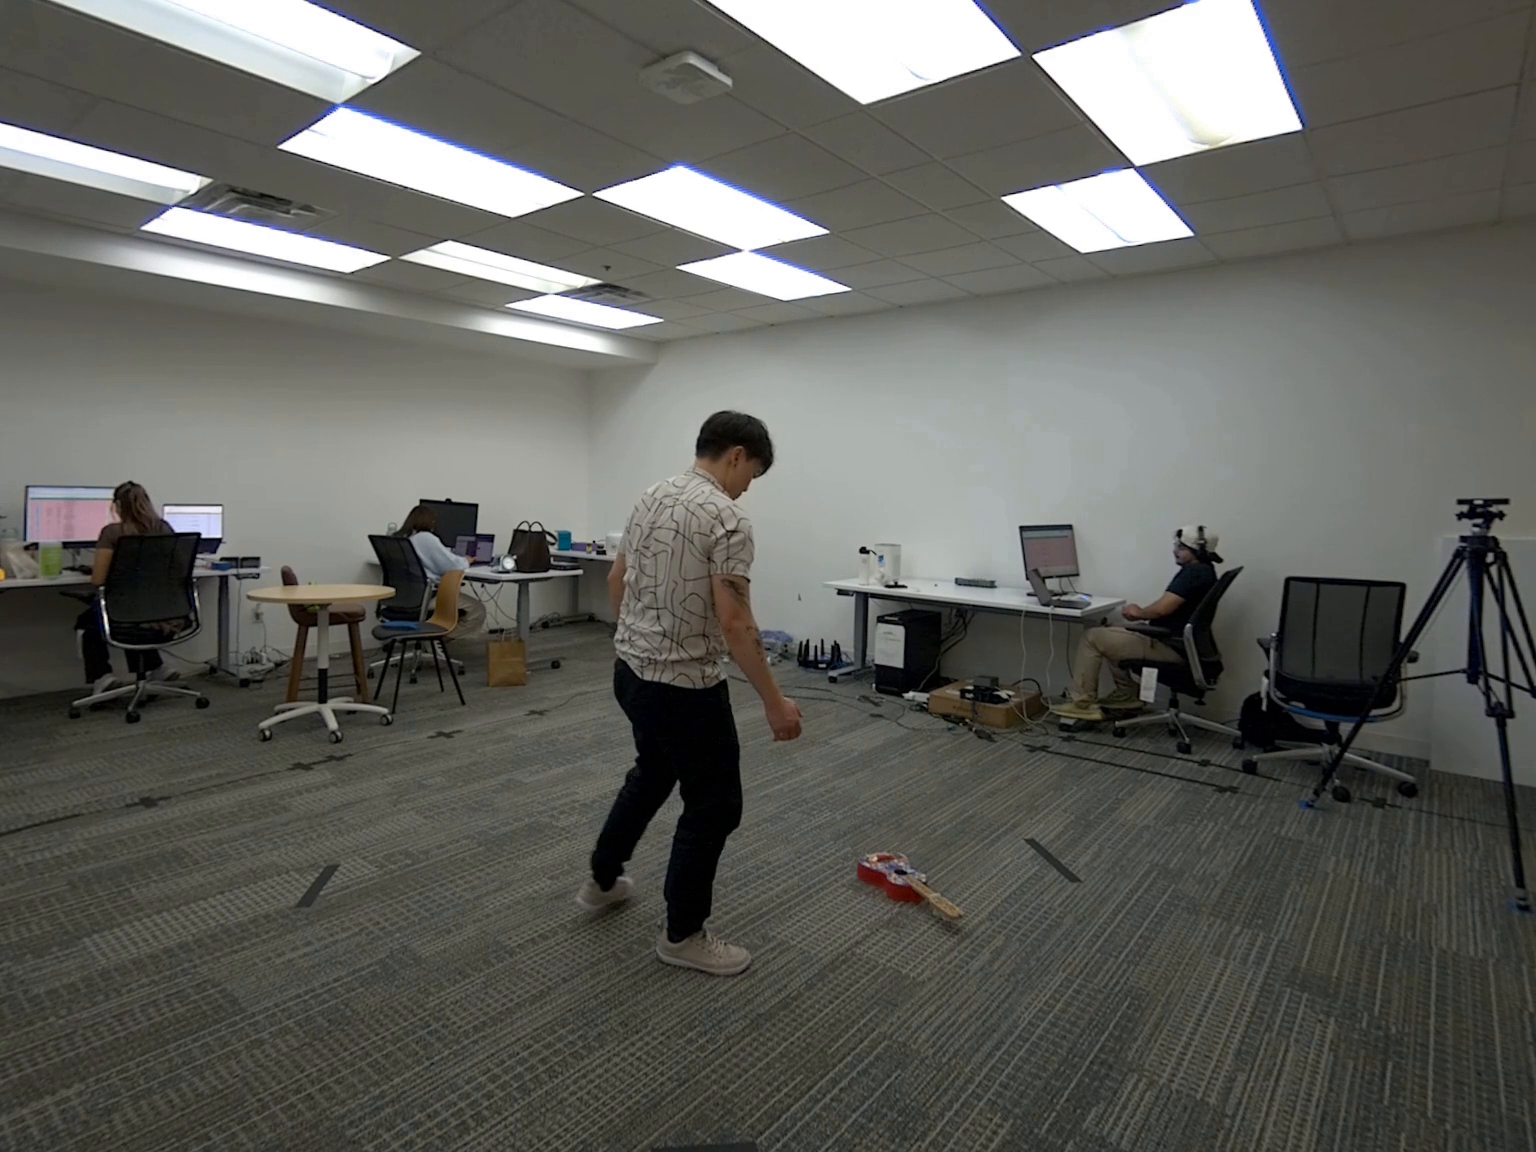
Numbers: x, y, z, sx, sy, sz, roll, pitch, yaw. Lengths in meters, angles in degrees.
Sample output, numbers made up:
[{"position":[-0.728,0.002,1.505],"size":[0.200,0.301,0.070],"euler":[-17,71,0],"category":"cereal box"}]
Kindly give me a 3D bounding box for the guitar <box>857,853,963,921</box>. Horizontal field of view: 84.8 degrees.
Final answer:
[{"position":[0.465,1.071,2.912],"size":[0.190,0.070,0.507],"euler":[0,5,-16],"category":"guitar"}]
